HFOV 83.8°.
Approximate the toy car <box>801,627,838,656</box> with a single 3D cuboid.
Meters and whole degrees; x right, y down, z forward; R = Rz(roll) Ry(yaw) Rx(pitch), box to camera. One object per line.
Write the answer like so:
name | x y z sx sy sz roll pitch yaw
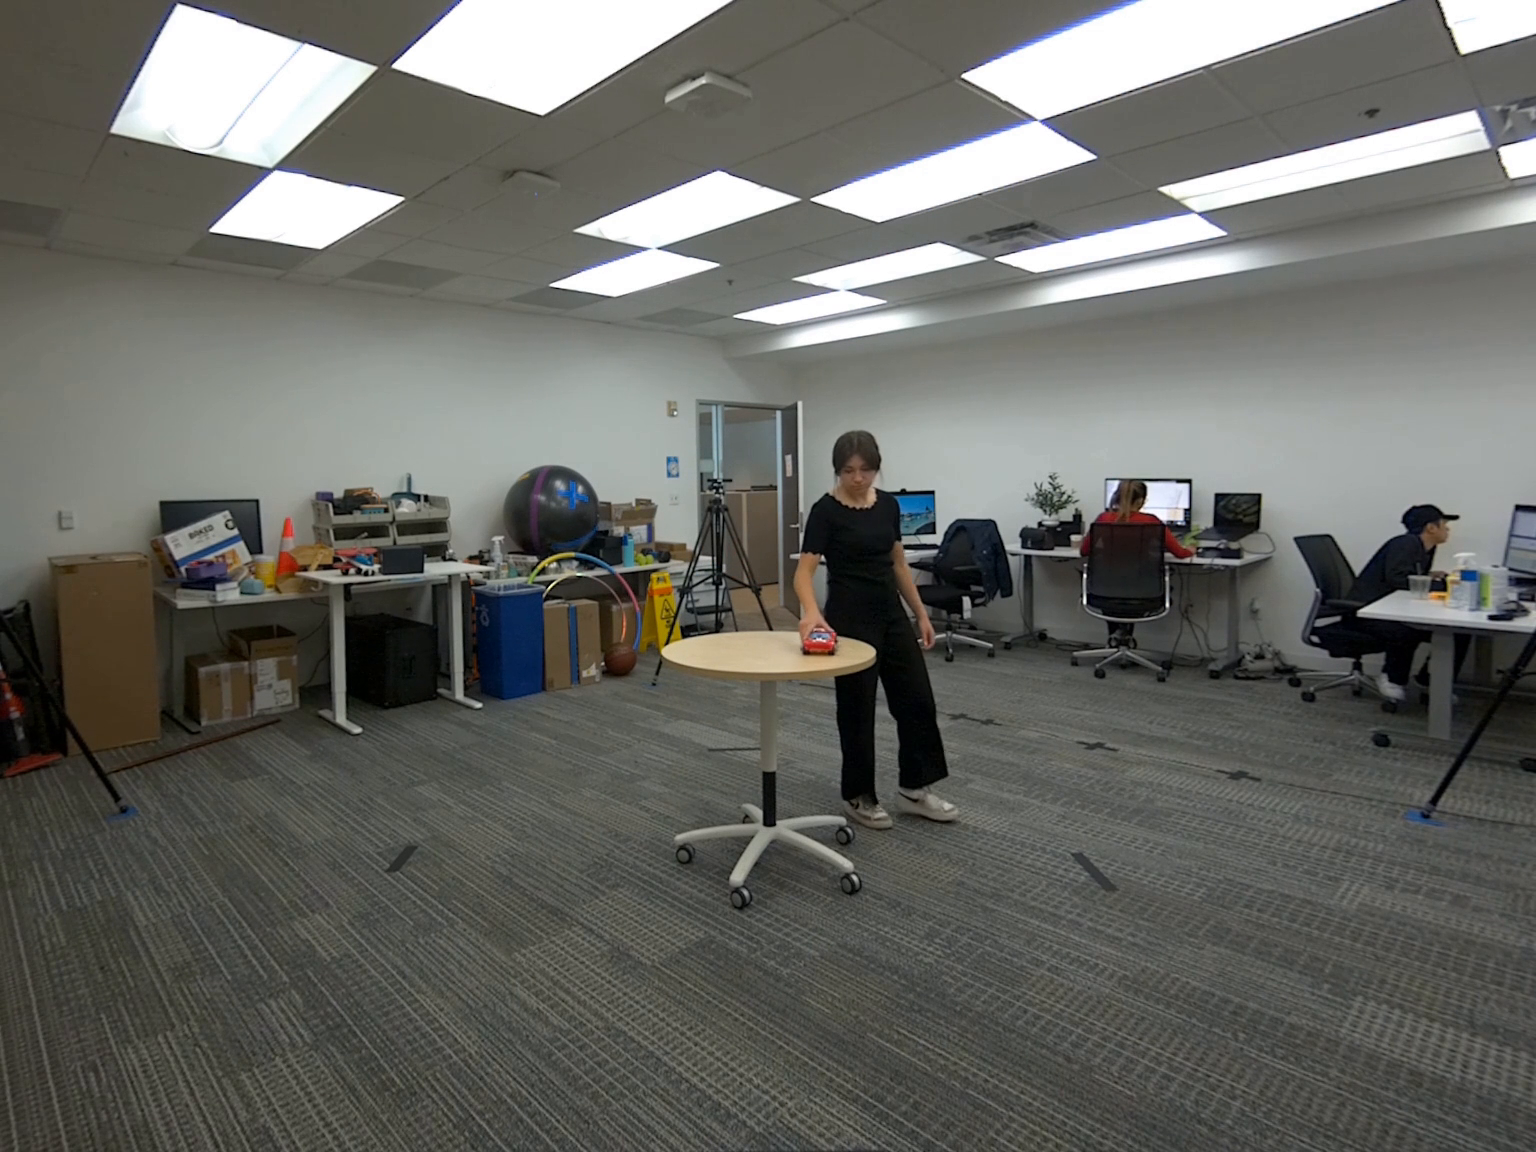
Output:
toy car | 0.190 0.231 3.067 0.131 0.082 0.257 0 17 5
